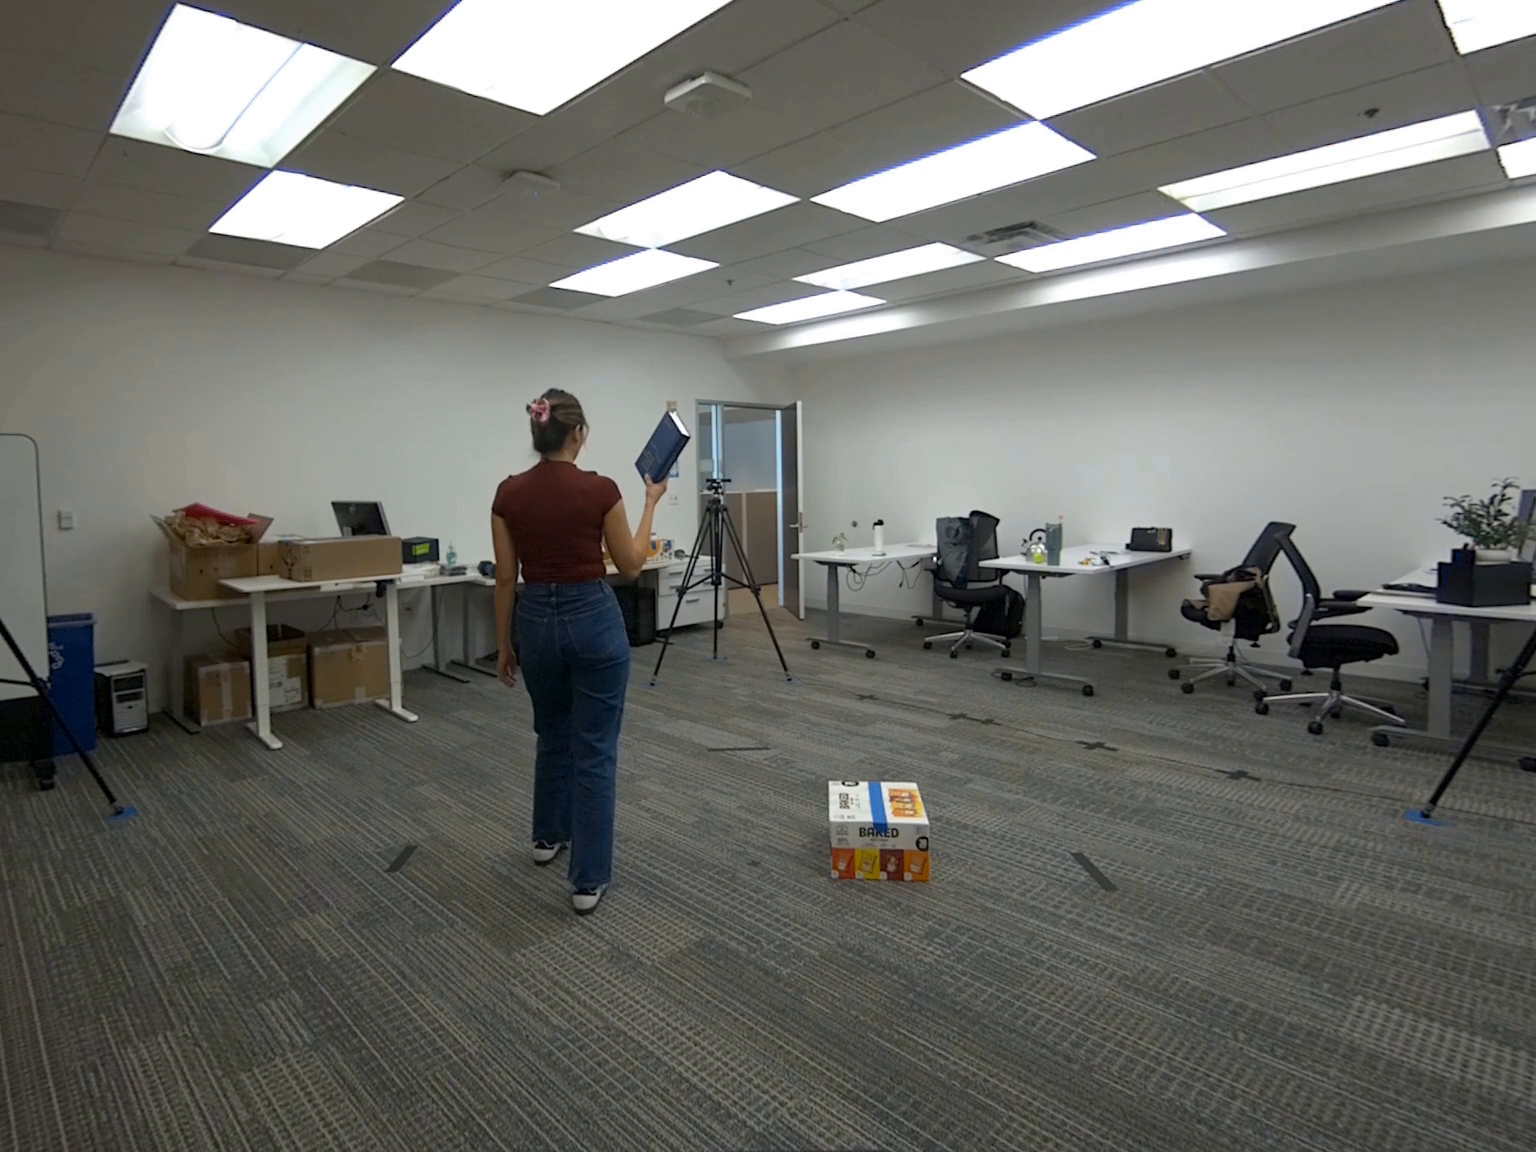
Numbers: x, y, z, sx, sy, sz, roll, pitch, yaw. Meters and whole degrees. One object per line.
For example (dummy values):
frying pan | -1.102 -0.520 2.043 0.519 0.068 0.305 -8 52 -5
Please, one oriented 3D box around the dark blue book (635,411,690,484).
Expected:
dark blue book | -0.380 -0.447 3.045 0.043 0.244 0.170 18 29 -37
